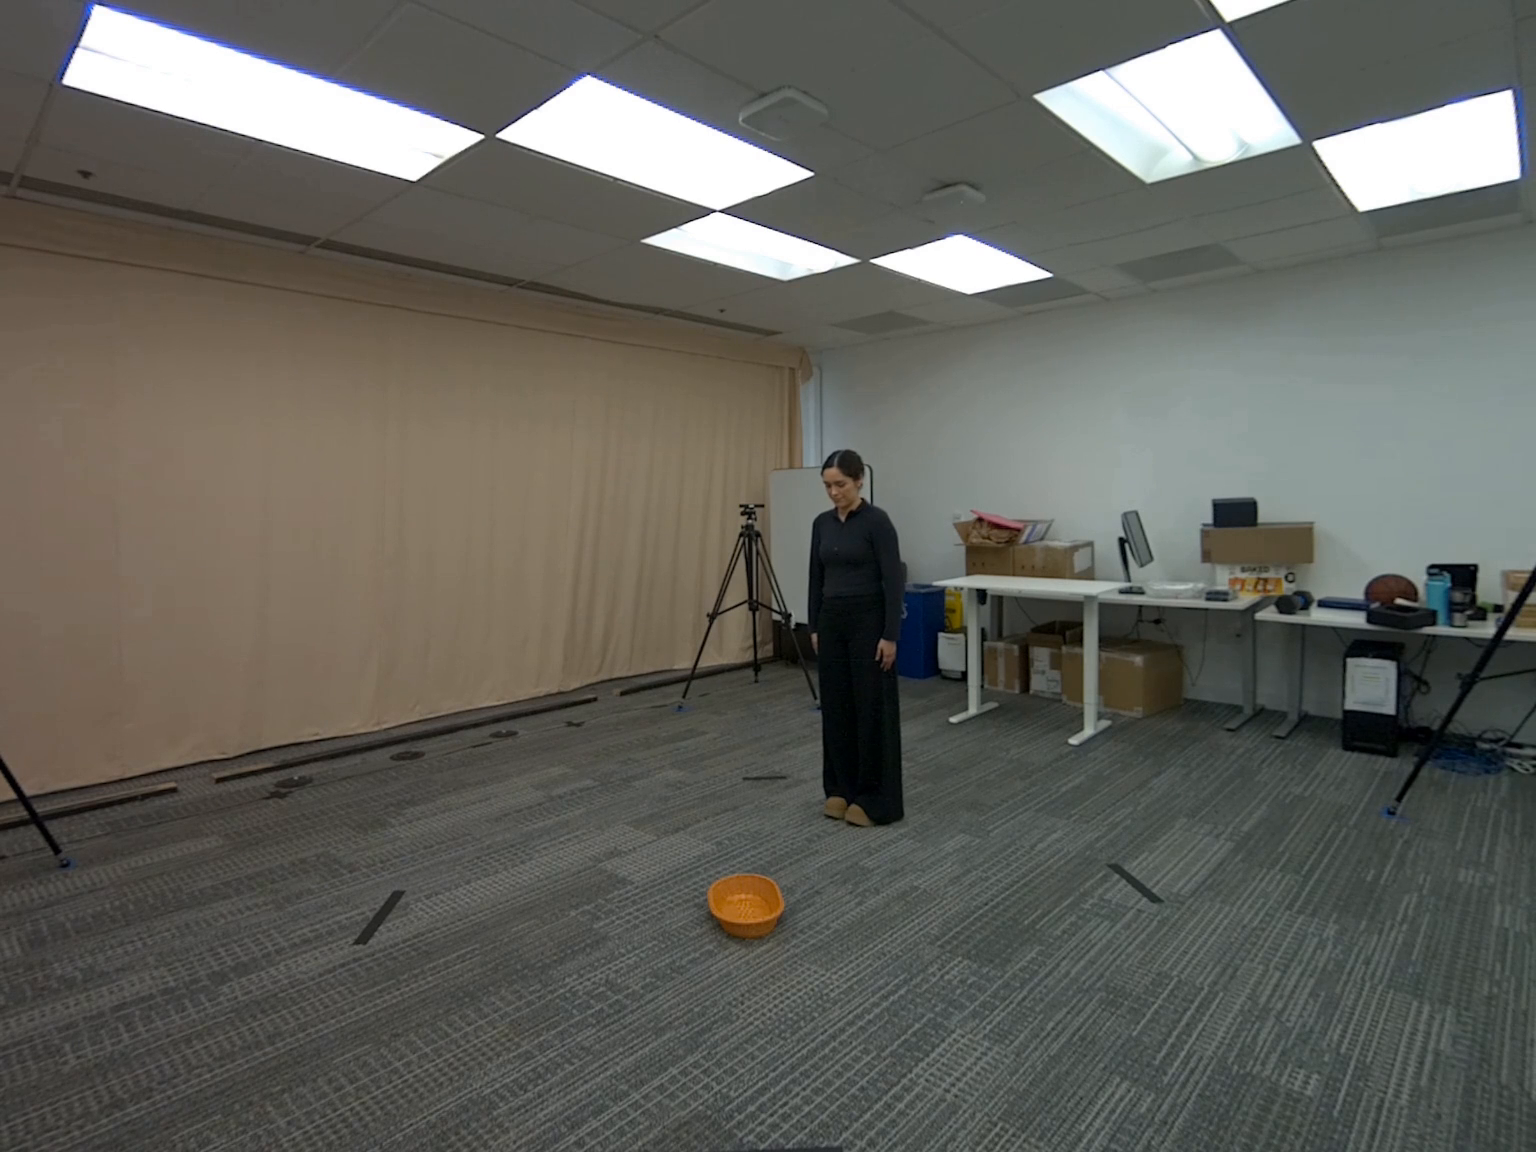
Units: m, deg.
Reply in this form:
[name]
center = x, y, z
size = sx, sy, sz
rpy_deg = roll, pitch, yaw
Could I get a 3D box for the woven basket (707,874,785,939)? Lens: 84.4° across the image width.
[woven basket]
center = -0.076, 1.112, 2.841
size = 0.250, 0.073, 0.354
rpy_deg = -3, 5, -8
